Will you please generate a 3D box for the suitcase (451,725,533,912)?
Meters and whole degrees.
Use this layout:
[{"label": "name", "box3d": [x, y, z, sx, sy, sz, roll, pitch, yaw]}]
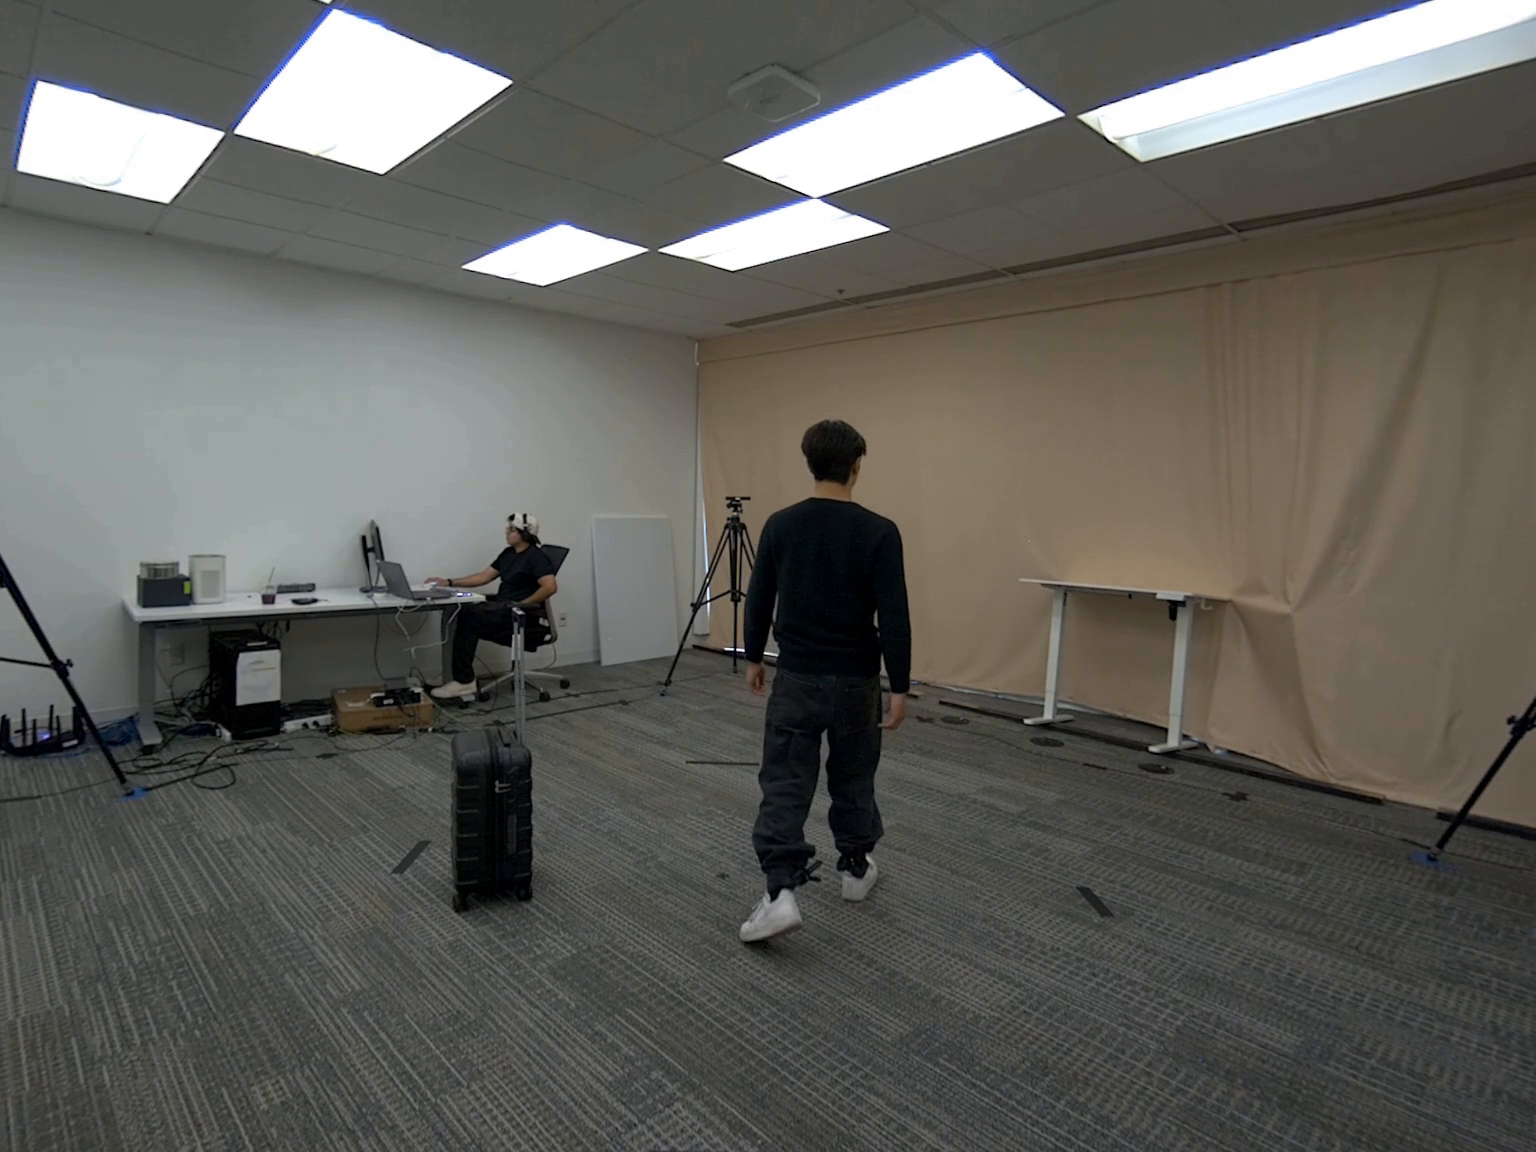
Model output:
[{"label": "suitcase", "box3d": [-0.972, 0.621, 2.934, 0.253, 0.975, 0.392, -2, 6, -23]}]
